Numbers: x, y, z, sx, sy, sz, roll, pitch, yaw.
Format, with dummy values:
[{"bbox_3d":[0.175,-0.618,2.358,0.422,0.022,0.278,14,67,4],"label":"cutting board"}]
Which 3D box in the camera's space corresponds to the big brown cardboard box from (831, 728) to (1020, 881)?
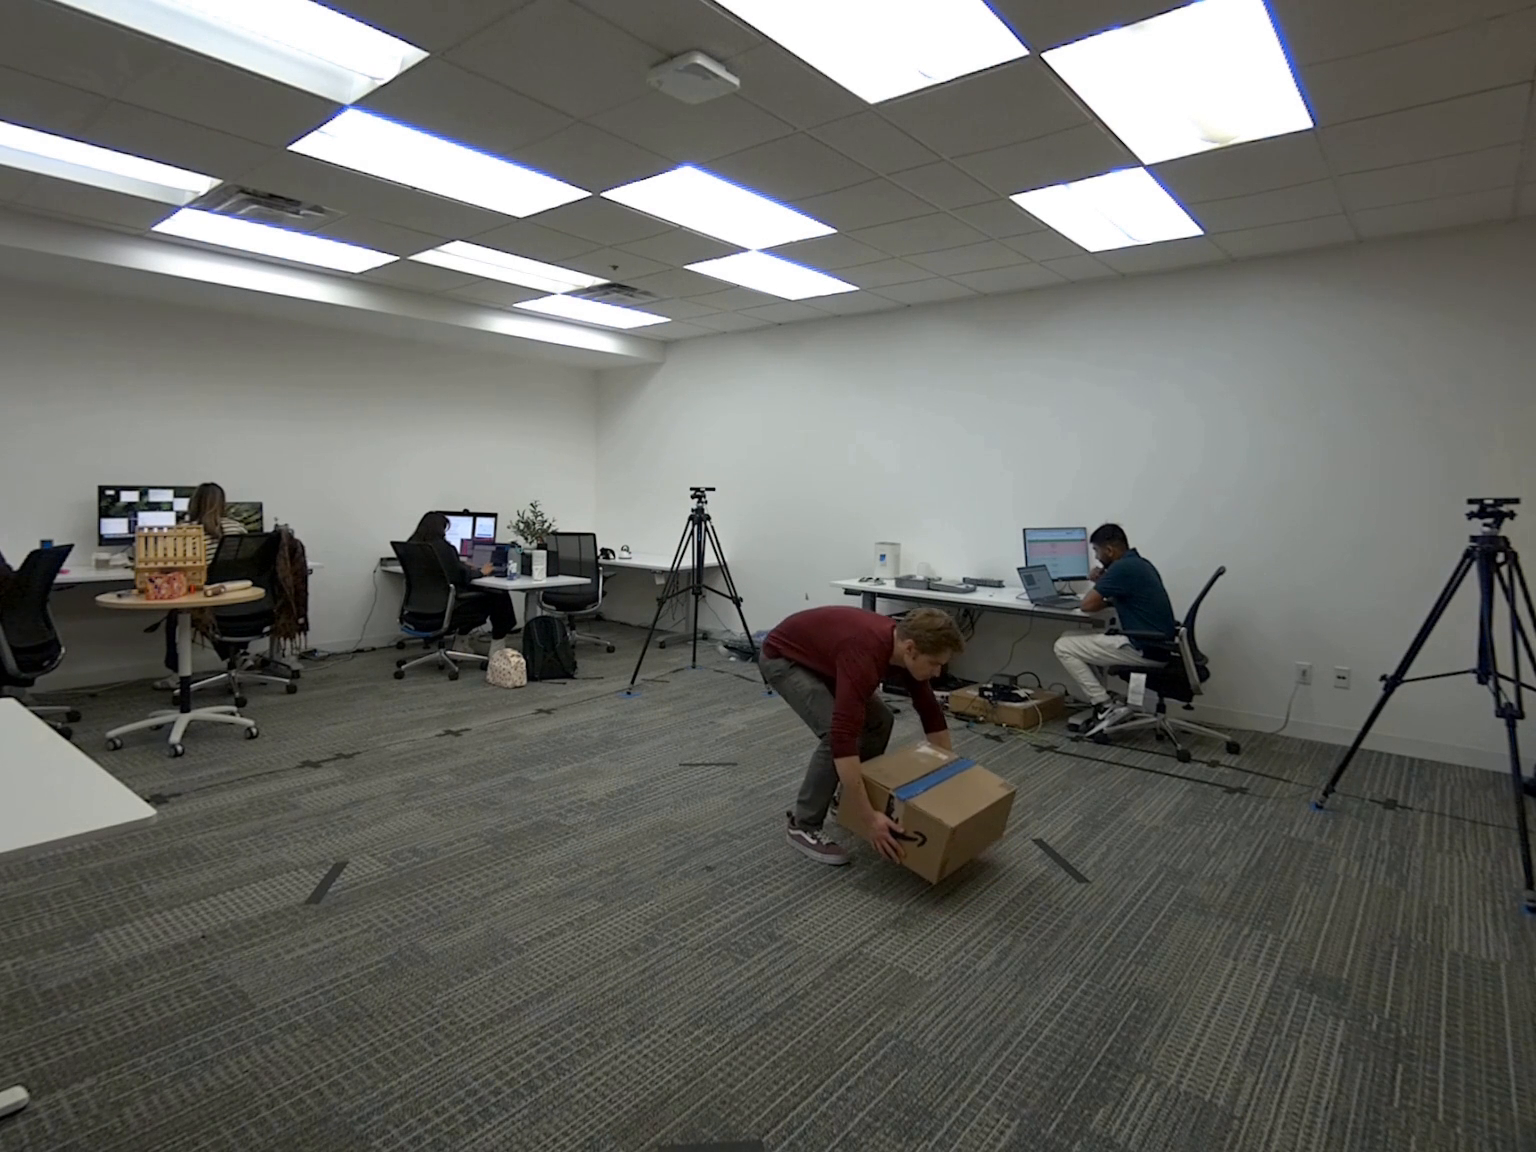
[{"bbox_3d":[0.591,0.819,3.130,0.434,0.231,0.572,22,17,36],"label":"big brown cardboard box"}]
